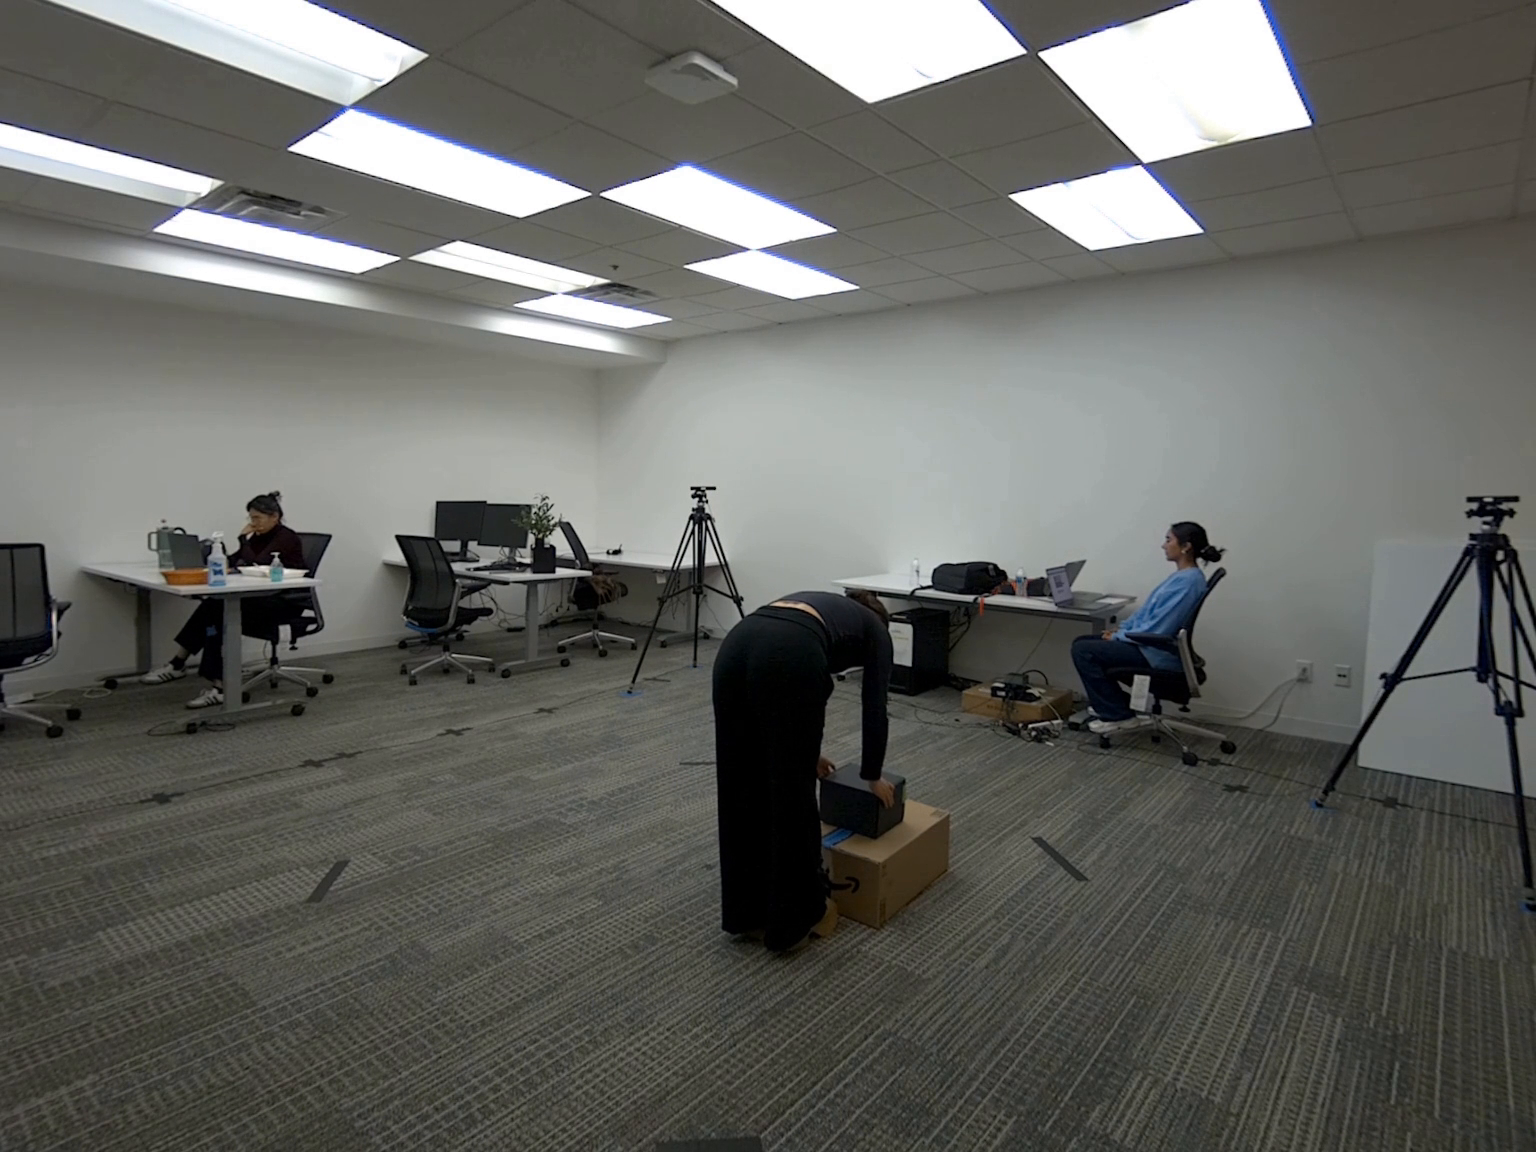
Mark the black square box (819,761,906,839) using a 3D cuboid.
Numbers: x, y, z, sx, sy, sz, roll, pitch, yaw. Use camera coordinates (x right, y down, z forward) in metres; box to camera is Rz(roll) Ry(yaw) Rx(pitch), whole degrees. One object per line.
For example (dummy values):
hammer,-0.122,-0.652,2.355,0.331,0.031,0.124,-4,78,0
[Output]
black square box,0.330,0.786,3.004,0.235,0.155,0.211,7,8,35
